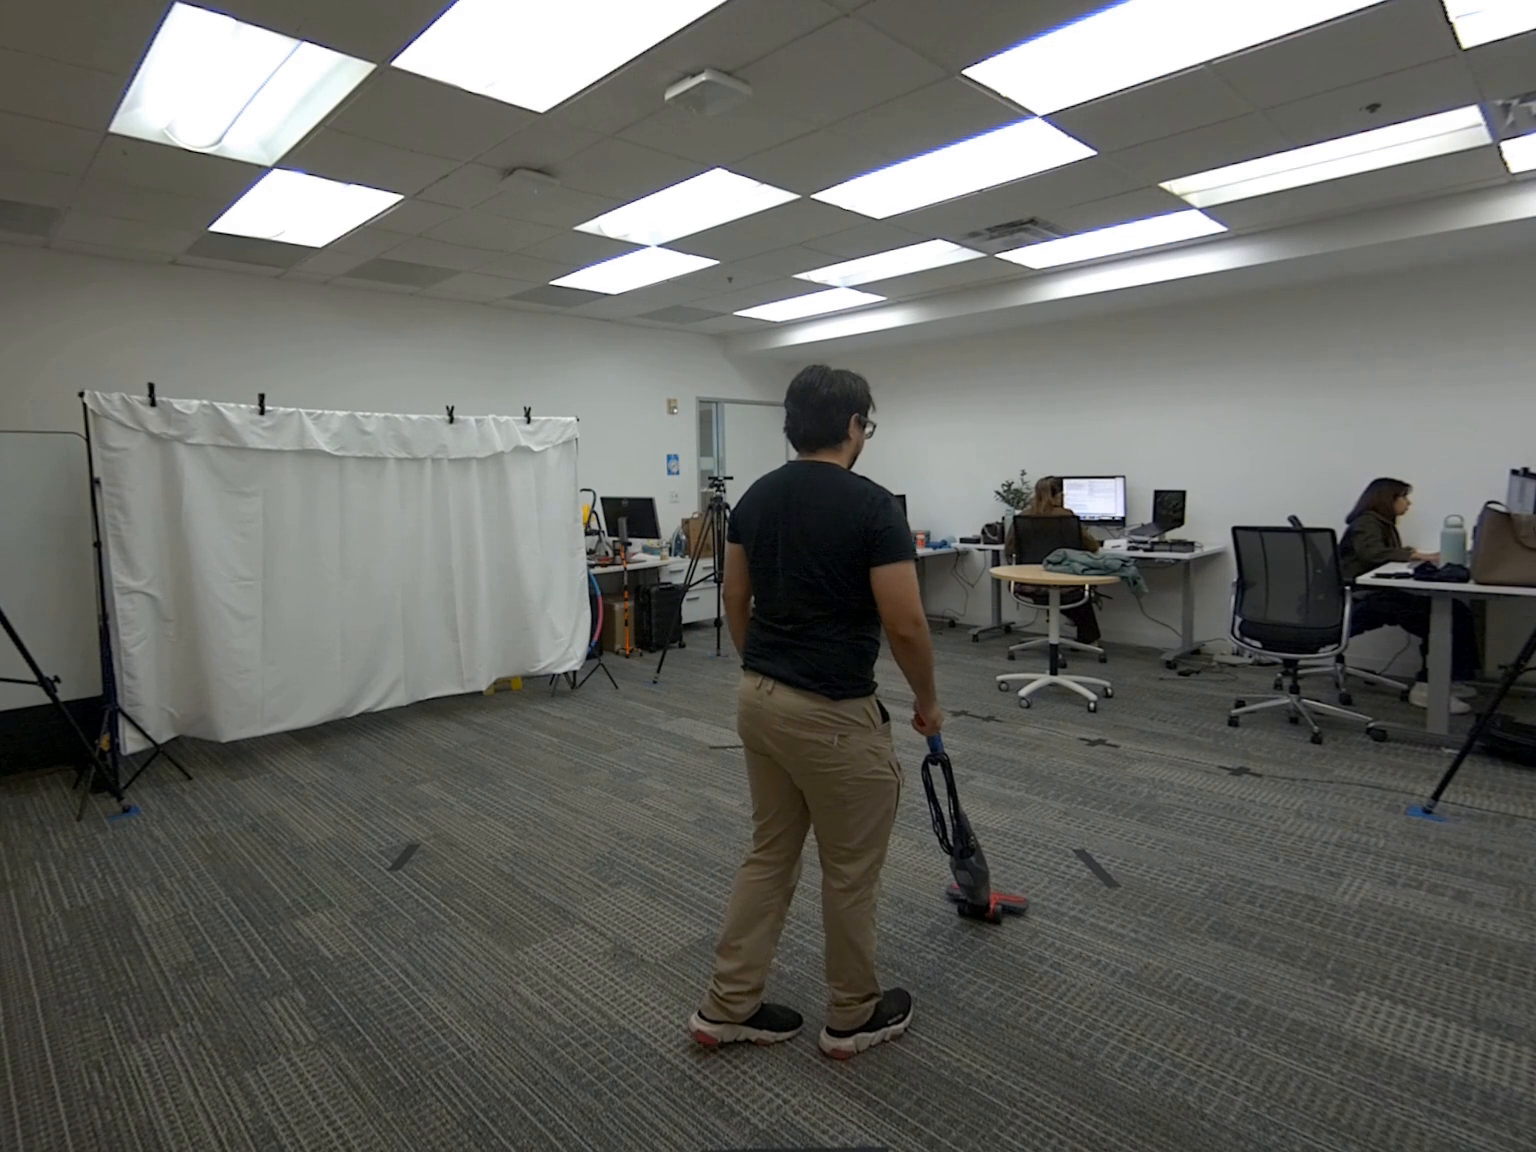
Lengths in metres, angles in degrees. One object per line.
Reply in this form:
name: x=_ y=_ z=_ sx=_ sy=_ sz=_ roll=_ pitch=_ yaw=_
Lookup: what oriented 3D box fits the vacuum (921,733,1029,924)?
vacuum: x=0.535 y=0.701 z=2.402 sx=0.259 sy=1.012 sz=0.145 roll=3 pitch=47 yaw=28
